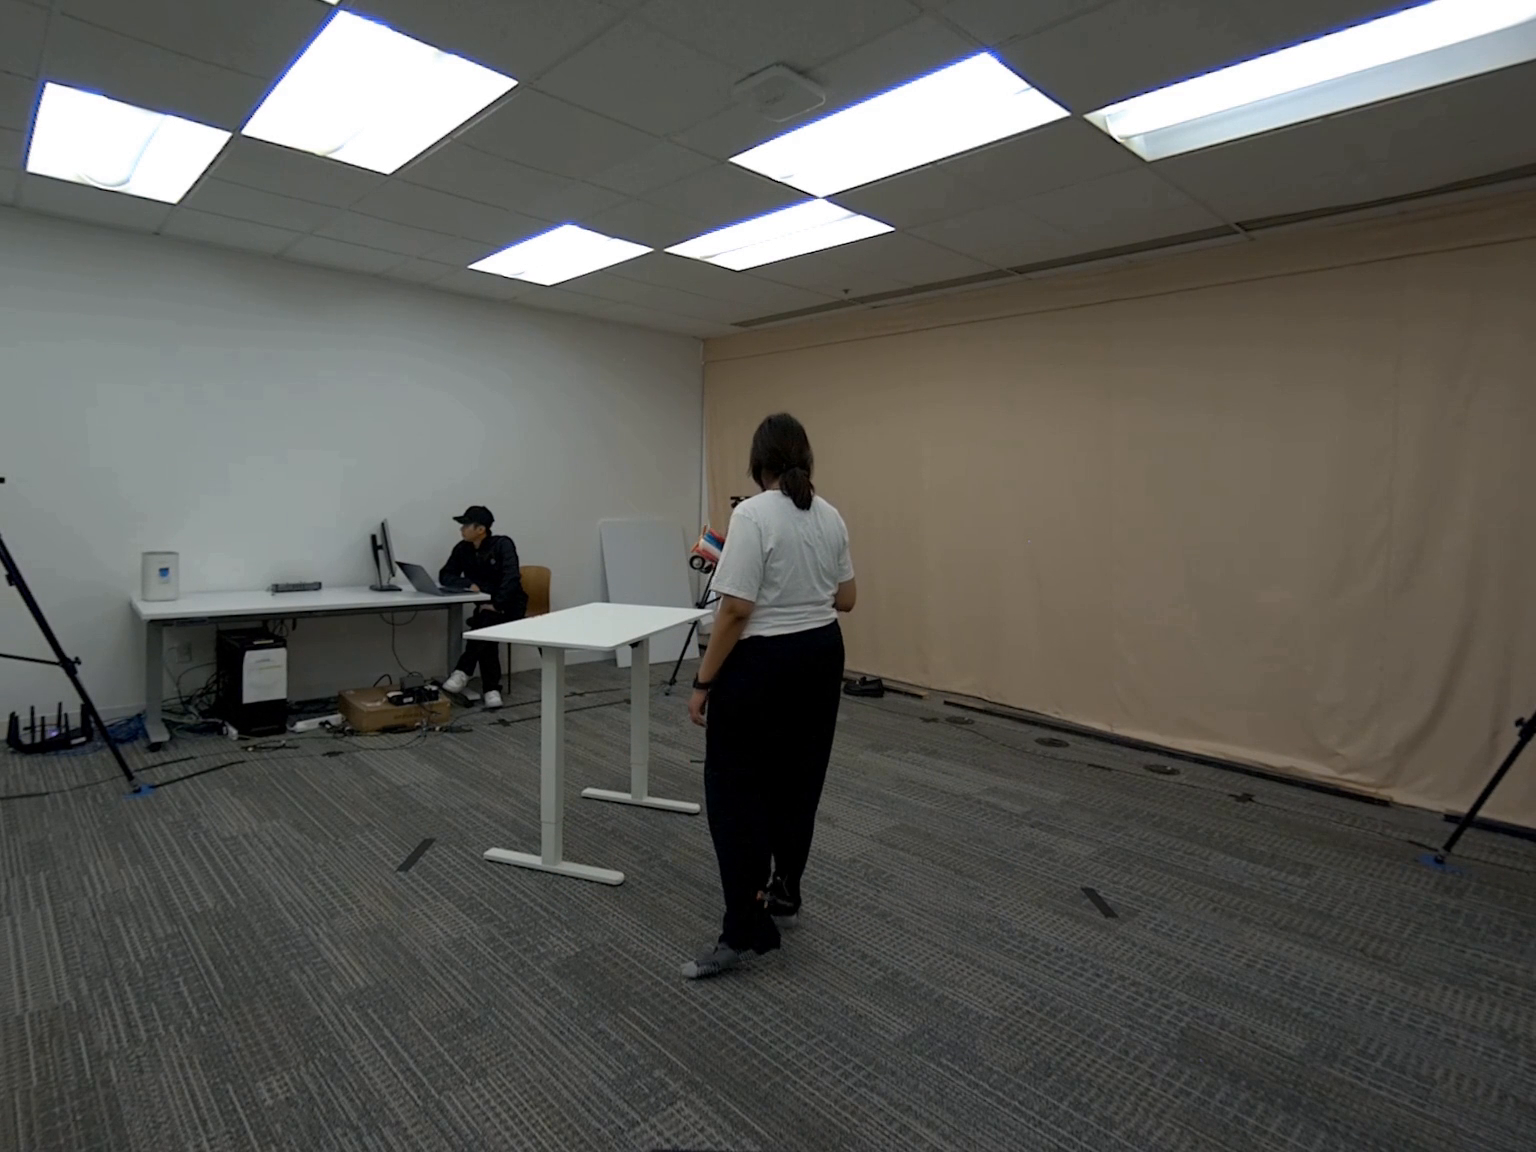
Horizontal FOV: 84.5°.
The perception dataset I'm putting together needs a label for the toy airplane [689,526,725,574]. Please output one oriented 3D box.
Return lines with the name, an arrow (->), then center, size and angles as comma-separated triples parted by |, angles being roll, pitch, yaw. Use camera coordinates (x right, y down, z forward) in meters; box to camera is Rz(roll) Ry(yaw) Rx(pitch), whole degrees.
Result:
toy airplane -> -0.147, -0.056, 2.987 | 0.257, 0.157, 0.253 | 22, -4, -9
